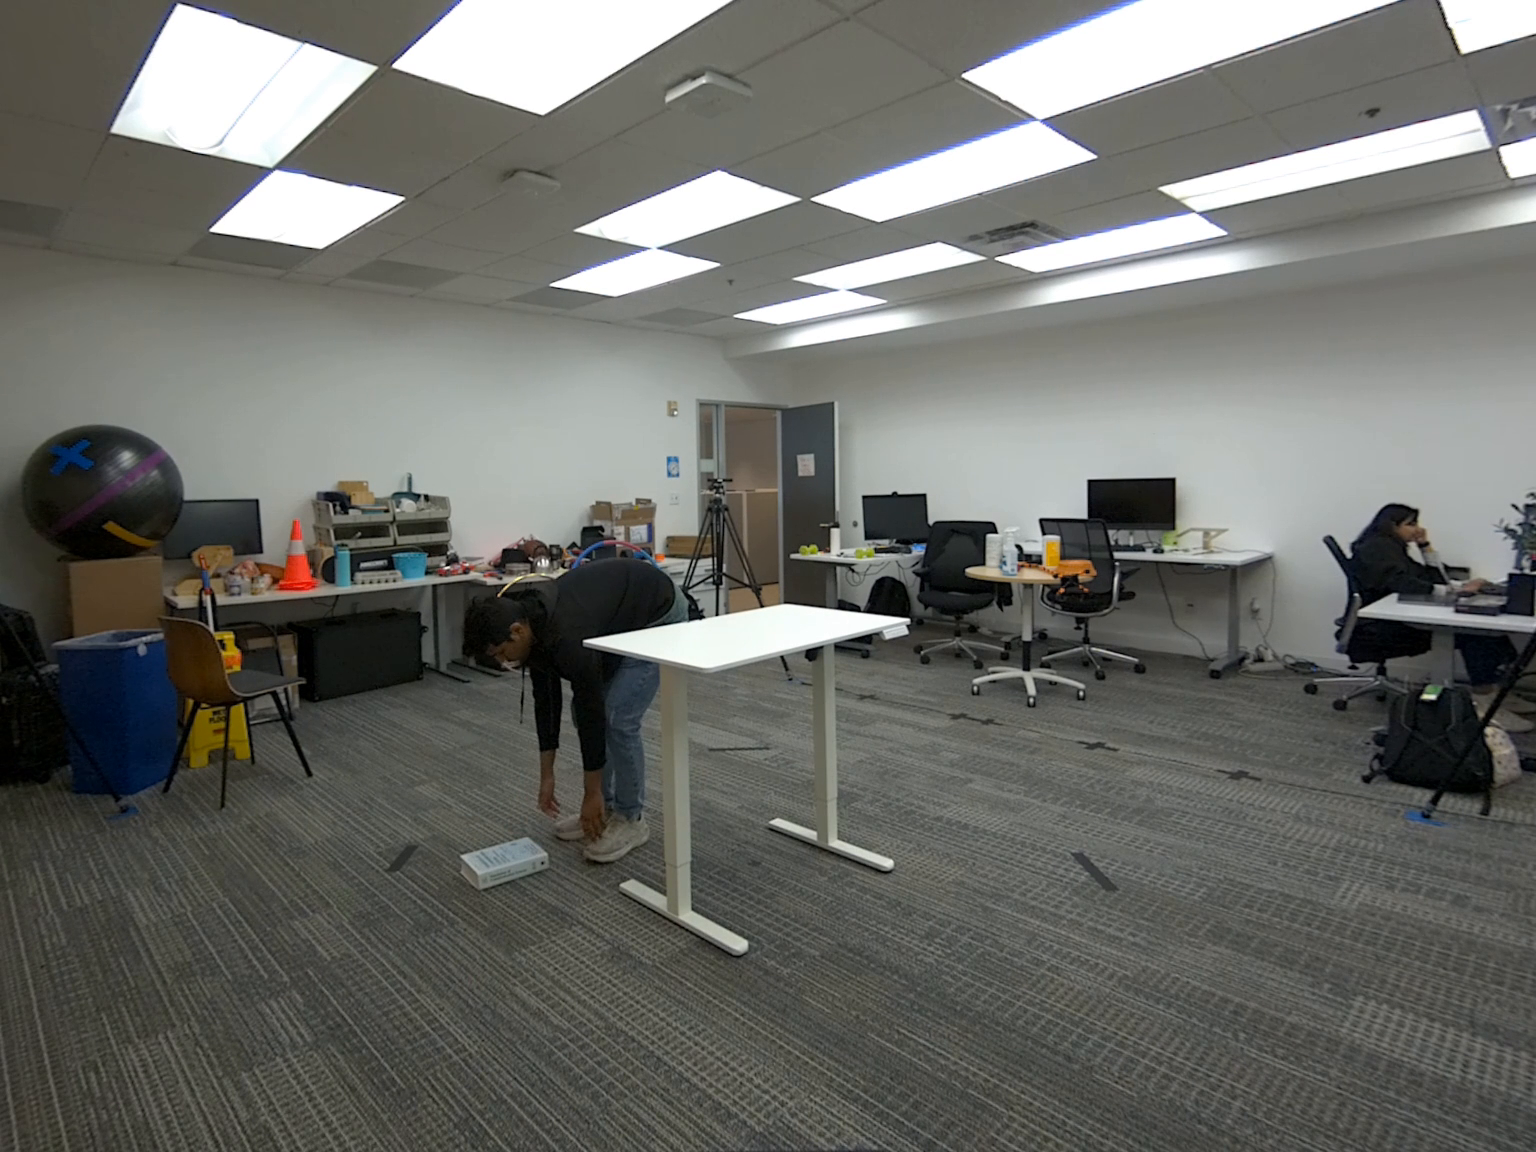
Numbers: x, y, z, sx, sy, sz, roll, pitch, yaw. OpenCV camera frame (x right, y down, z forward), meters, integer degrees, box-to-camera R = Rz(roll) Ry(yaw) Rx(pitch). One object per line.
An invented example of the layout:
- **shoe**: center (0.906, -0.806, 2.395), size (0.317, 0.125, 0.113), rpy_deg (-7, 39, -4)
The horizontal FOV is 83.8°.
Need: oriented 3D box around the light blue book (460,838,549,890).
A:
- **light blue book**: center (-0.946, 1.031, 3.090), size (0.254, 0.059, 0.197), rpy_deg (-6, 8, -38)
